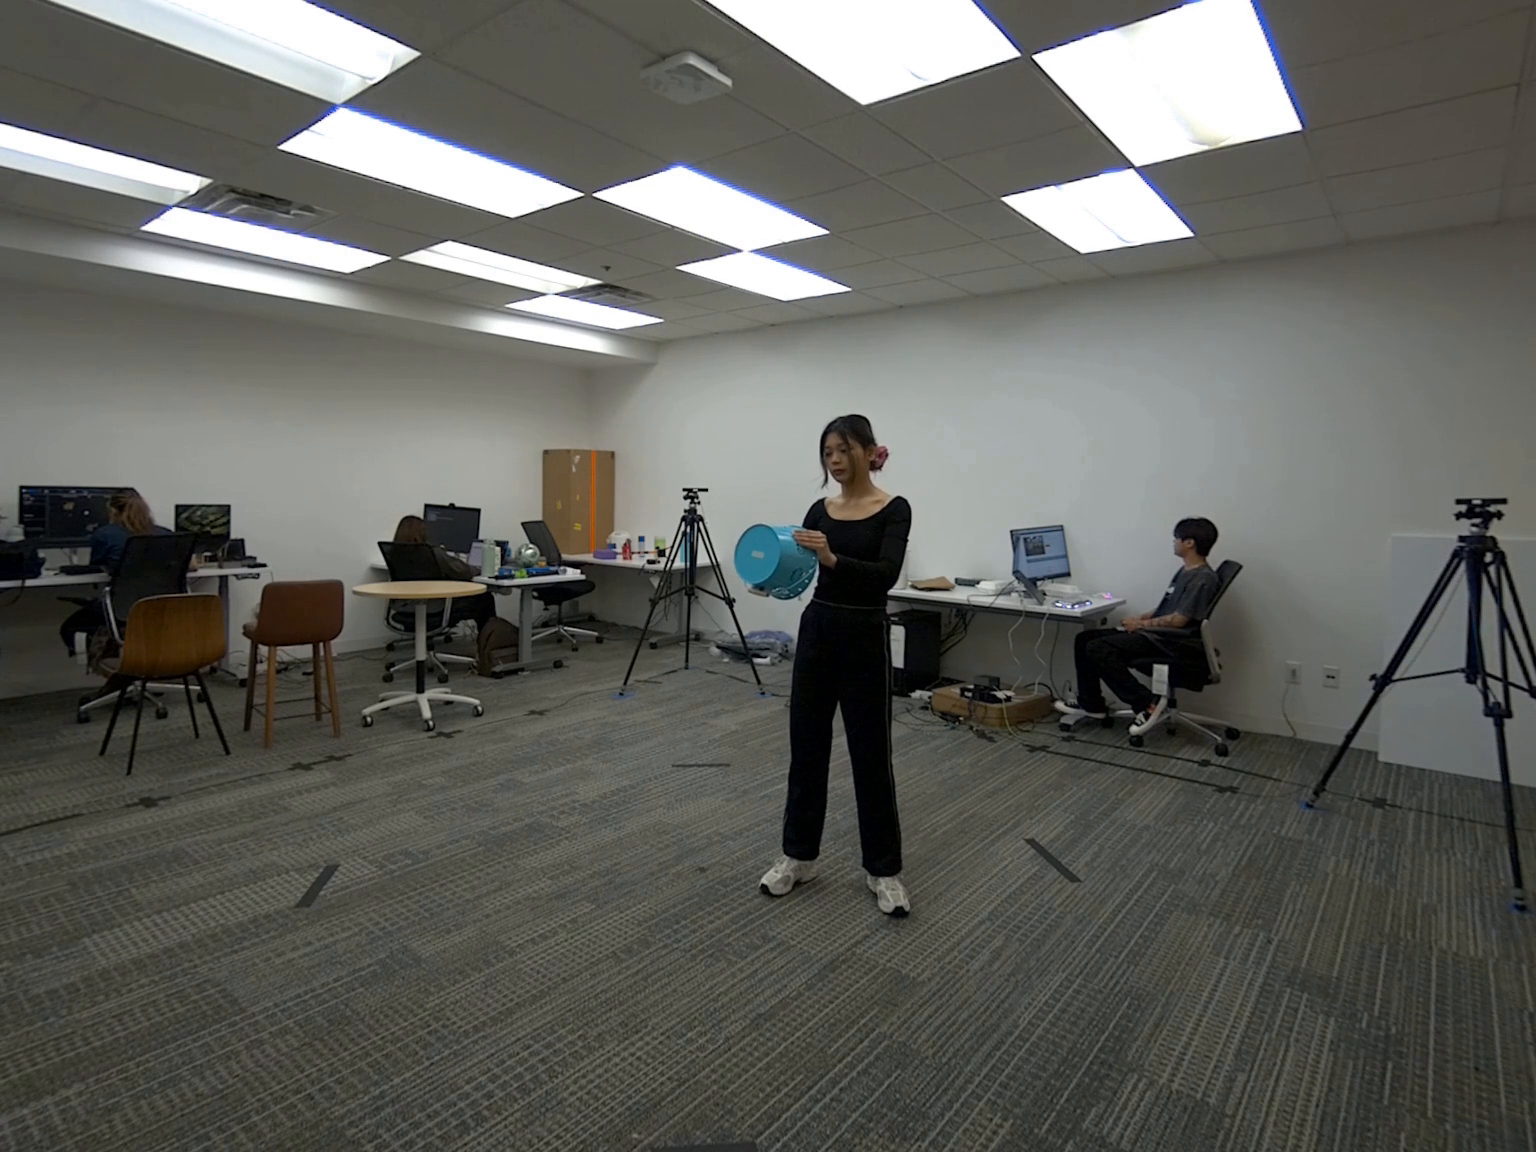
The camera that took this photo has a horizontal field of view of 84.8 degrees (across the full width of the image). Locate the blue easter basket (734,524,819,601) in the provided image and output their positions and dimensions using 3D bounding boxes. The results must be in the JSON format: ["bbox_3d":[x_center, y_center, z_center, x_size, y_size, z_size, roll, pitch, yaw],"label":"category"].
[{"bbox_3d":[0.002,-0.053,2.585,0.252,0.244,0.150,4,-2,41],"label":"blue easter basket"}]
